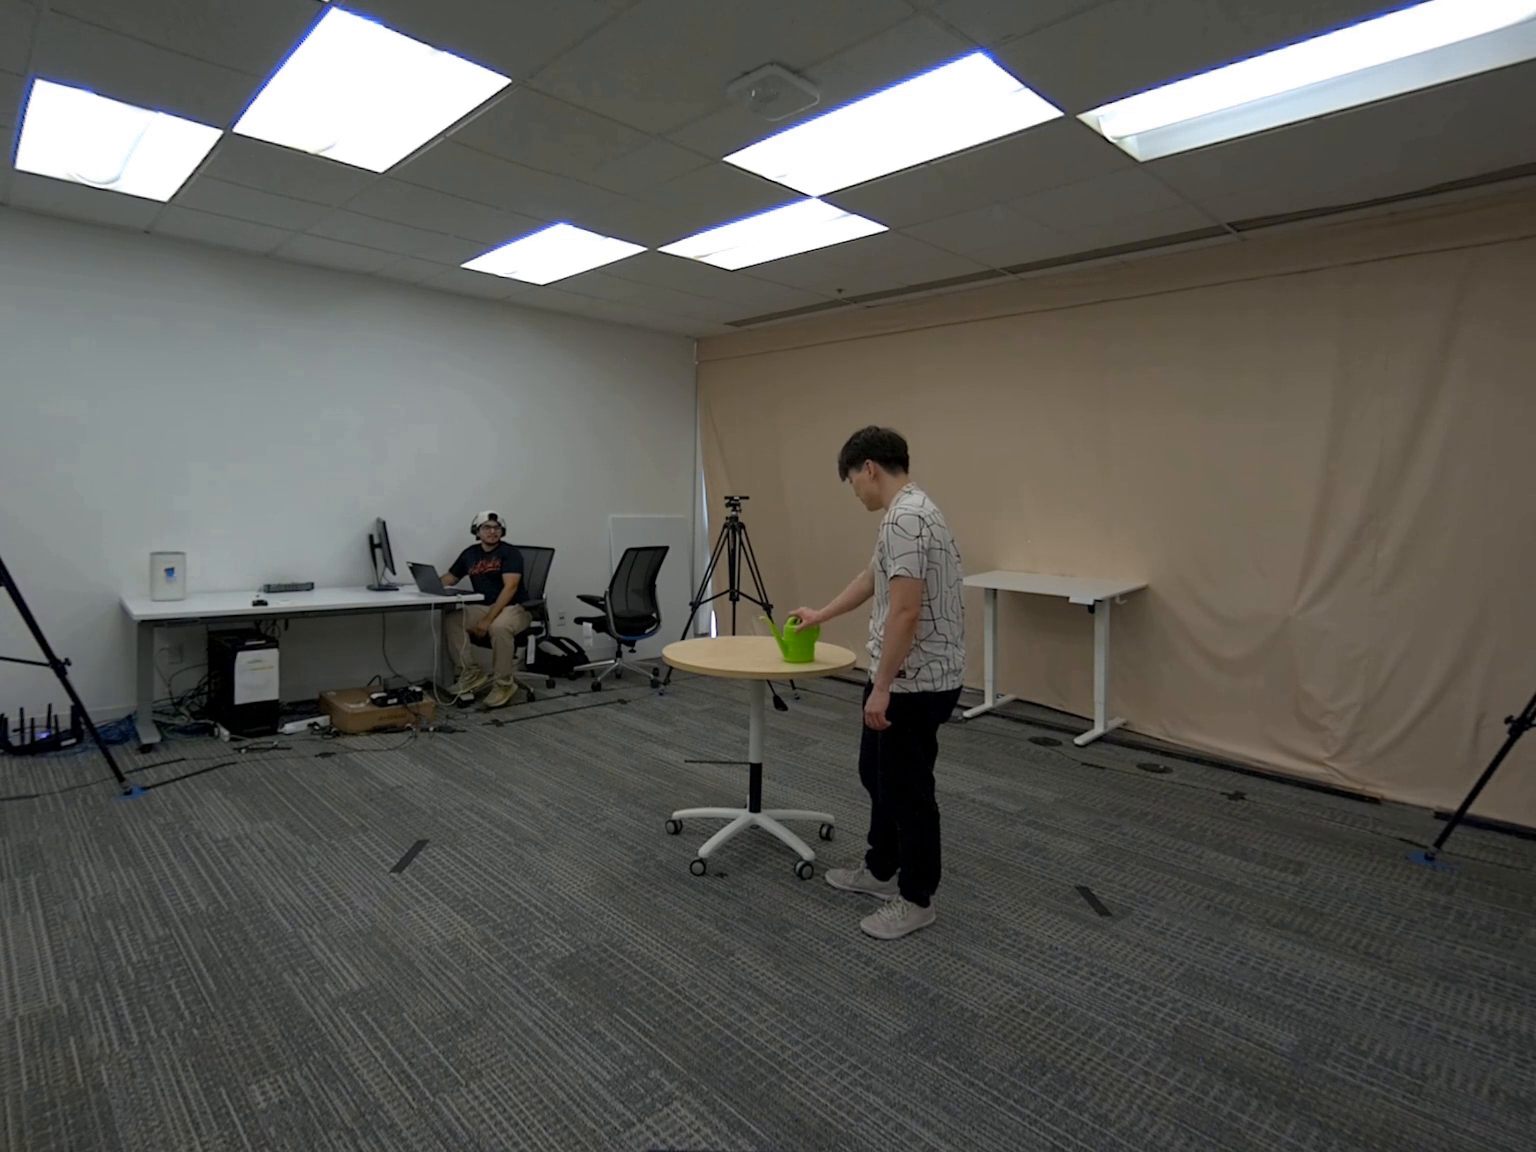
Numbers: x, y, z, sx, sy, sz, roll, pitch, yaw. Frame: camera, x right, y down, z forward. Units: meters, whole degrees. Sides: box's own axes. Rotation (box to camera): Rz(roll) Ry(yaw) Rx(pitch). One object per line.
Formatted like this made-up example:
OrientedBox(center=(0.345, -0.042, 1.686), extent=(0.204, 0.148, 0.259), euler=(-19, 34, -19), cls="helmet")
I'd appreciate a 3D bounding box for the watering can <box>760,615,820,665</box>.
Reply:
OrientedBox(center=(0.073, 0.235, 3.165), extent=(0.273, 0.176, 0.100), euler=(2, 3, -22), cls="watering can")
